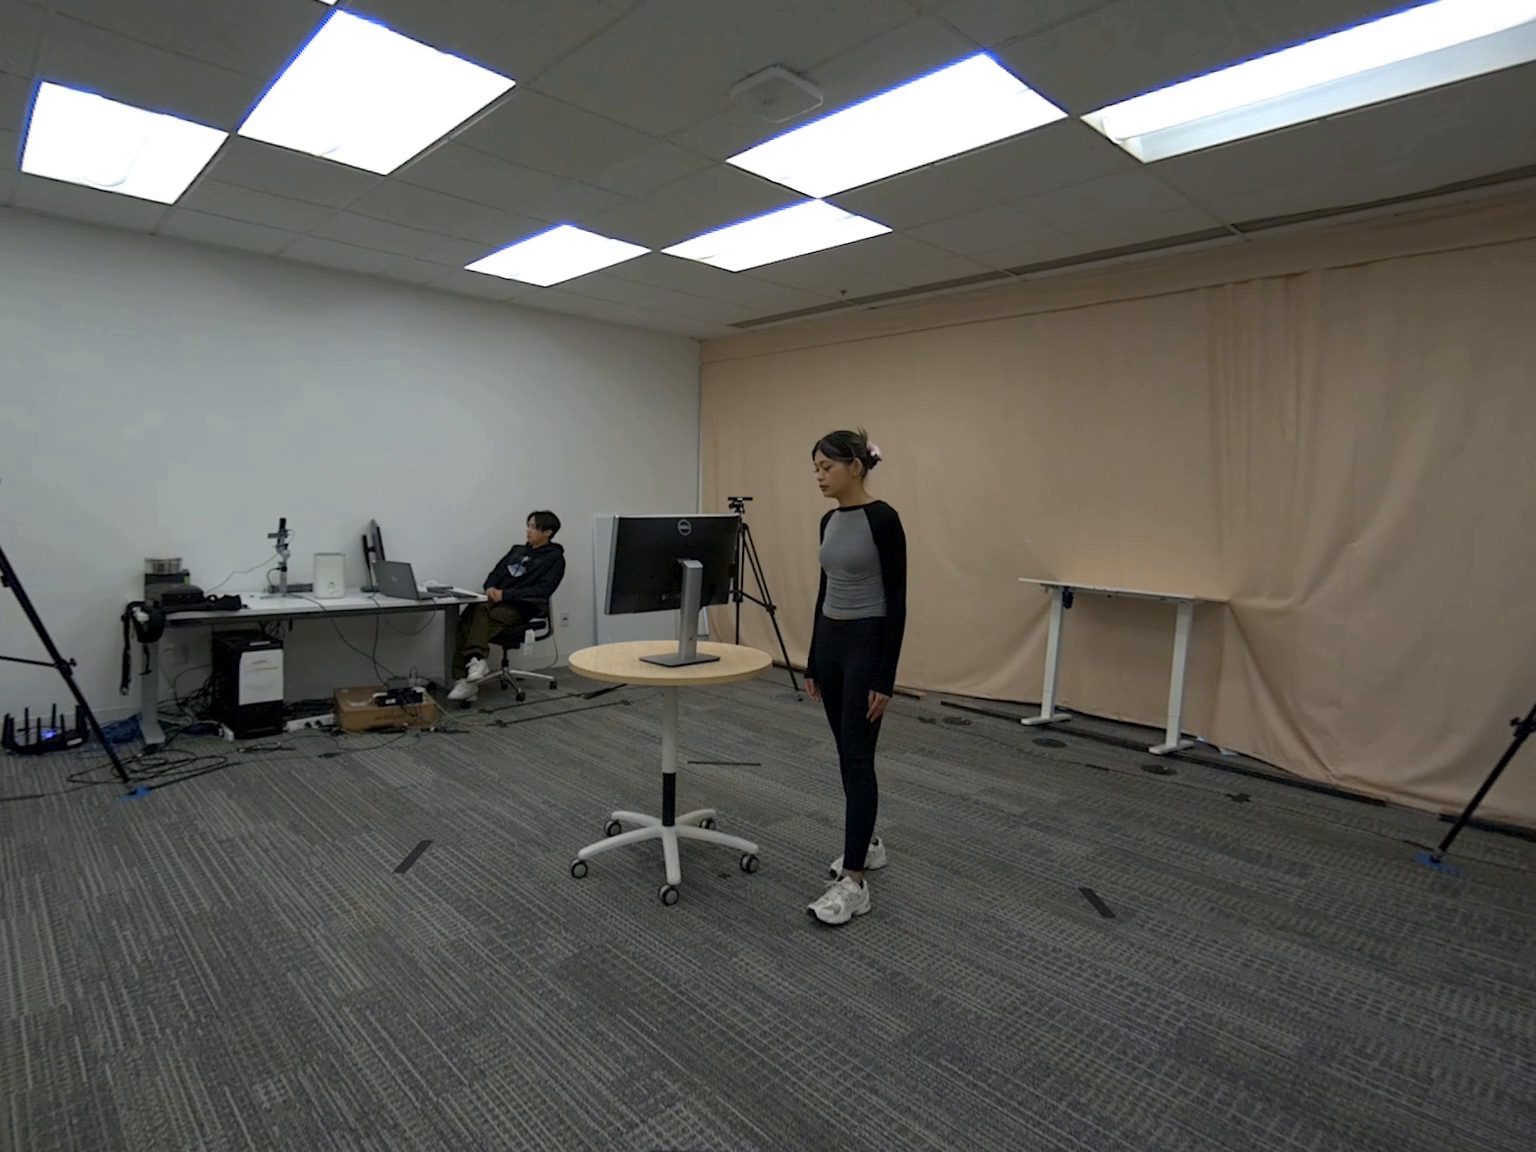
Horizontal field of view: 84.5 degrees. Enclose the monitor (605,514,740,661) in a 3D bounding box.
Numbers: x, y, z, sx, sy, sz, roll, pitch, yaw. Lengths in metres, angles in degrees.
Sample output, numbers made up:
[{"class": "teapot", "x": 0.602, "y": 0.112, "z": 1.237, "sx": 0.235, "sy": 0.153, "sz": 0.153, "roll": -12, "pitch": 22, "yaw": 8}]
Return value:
[{"class": "monitor", "x": -0.330, "y": 0.050, "z": 3.112, "sx": 0.527, "sy": 0.522, "sz": 0.192, "roll": -3, "pitch": 3, "yaw": -43}]
